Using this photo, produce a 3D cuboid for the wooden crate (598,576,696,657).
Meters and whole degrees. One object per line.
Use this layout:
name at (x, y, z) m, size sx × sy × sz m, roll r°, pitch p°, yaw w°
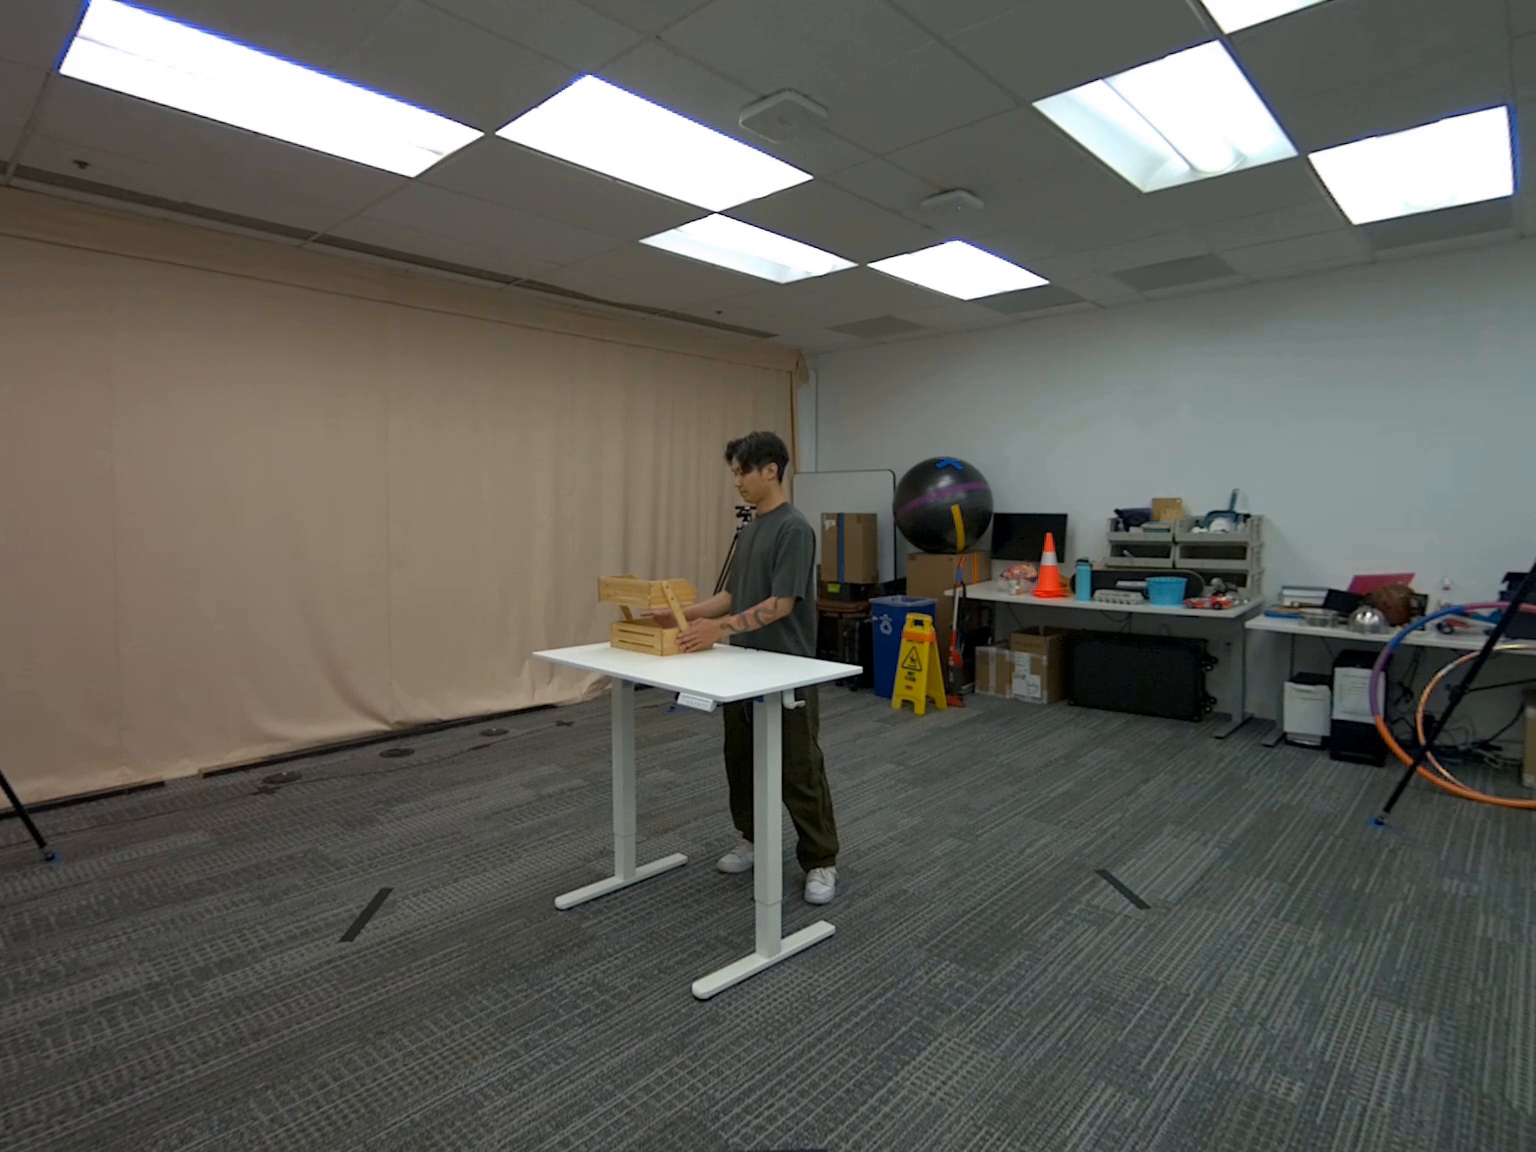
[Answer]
wooden crate at (-0.398, 0.131, 3.040) m, size 0.335 × 0.273 × 0.293 m, roll 3°, pitch 5°, yaw 44°
